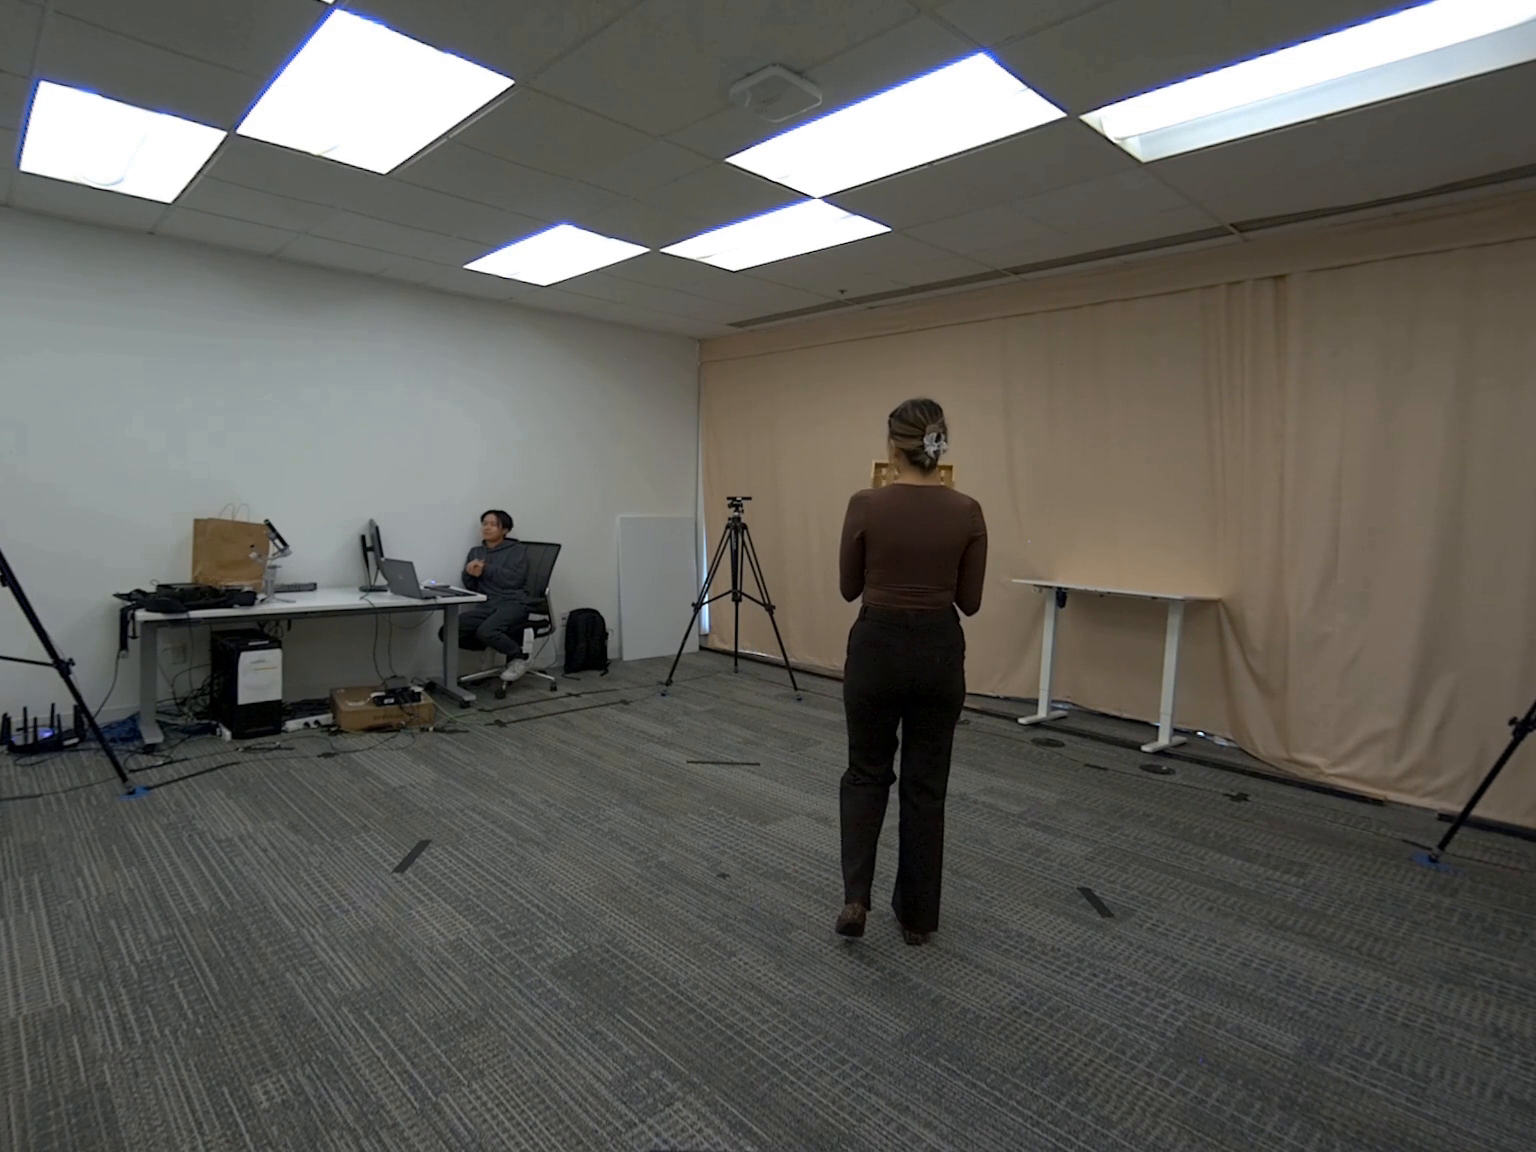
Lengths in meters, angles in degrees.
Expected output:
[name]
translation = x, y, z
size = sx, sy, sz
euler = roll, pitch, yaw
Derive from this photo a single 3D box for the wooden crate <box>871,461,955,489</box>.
[wooden crate]
translation = 0.524, -0.259, 3.046
size = 0.328, 0.300, 0.272
euler = 4, 10, 11
